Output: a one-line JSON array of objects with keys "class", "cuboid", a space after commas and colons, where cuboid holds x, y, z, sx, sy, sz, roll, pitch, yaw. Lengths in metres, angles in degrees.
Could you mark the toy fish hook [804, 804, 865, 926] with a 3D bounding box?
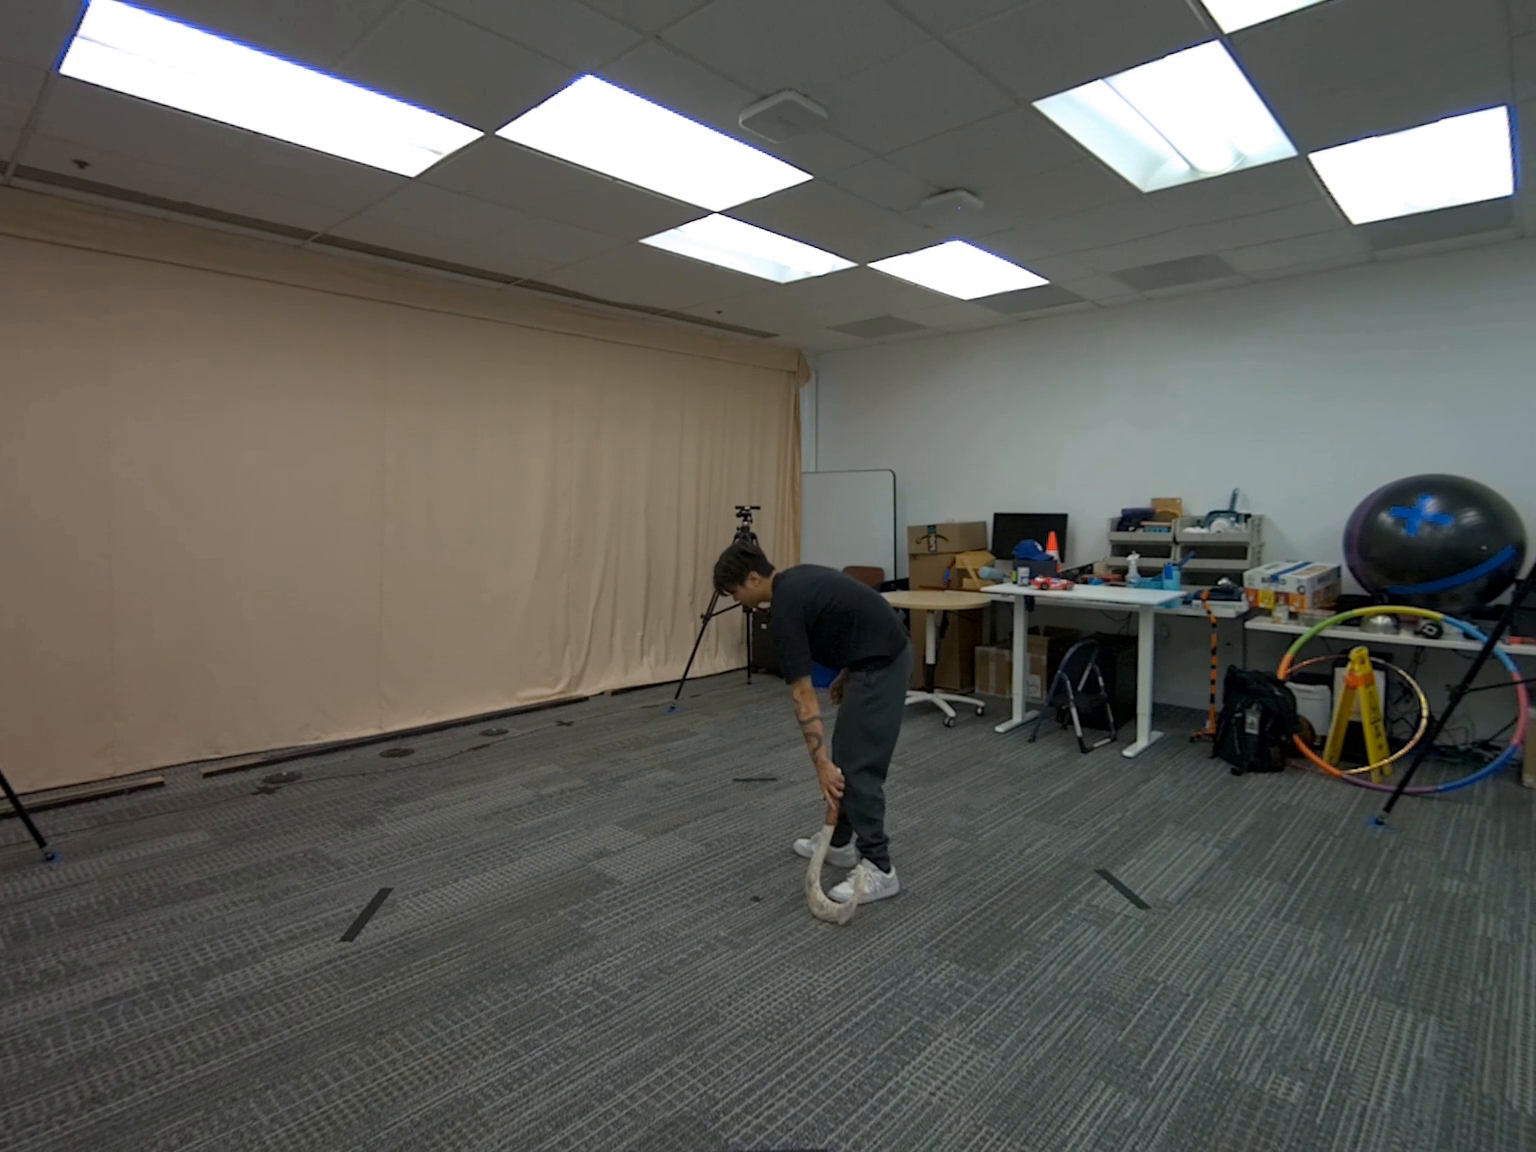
[{"class": "toy fish hook", "cuboid": [0.253, 0.922, 2.894, 0.231, 0.510, 0.046, -3, -21, 32]}]
